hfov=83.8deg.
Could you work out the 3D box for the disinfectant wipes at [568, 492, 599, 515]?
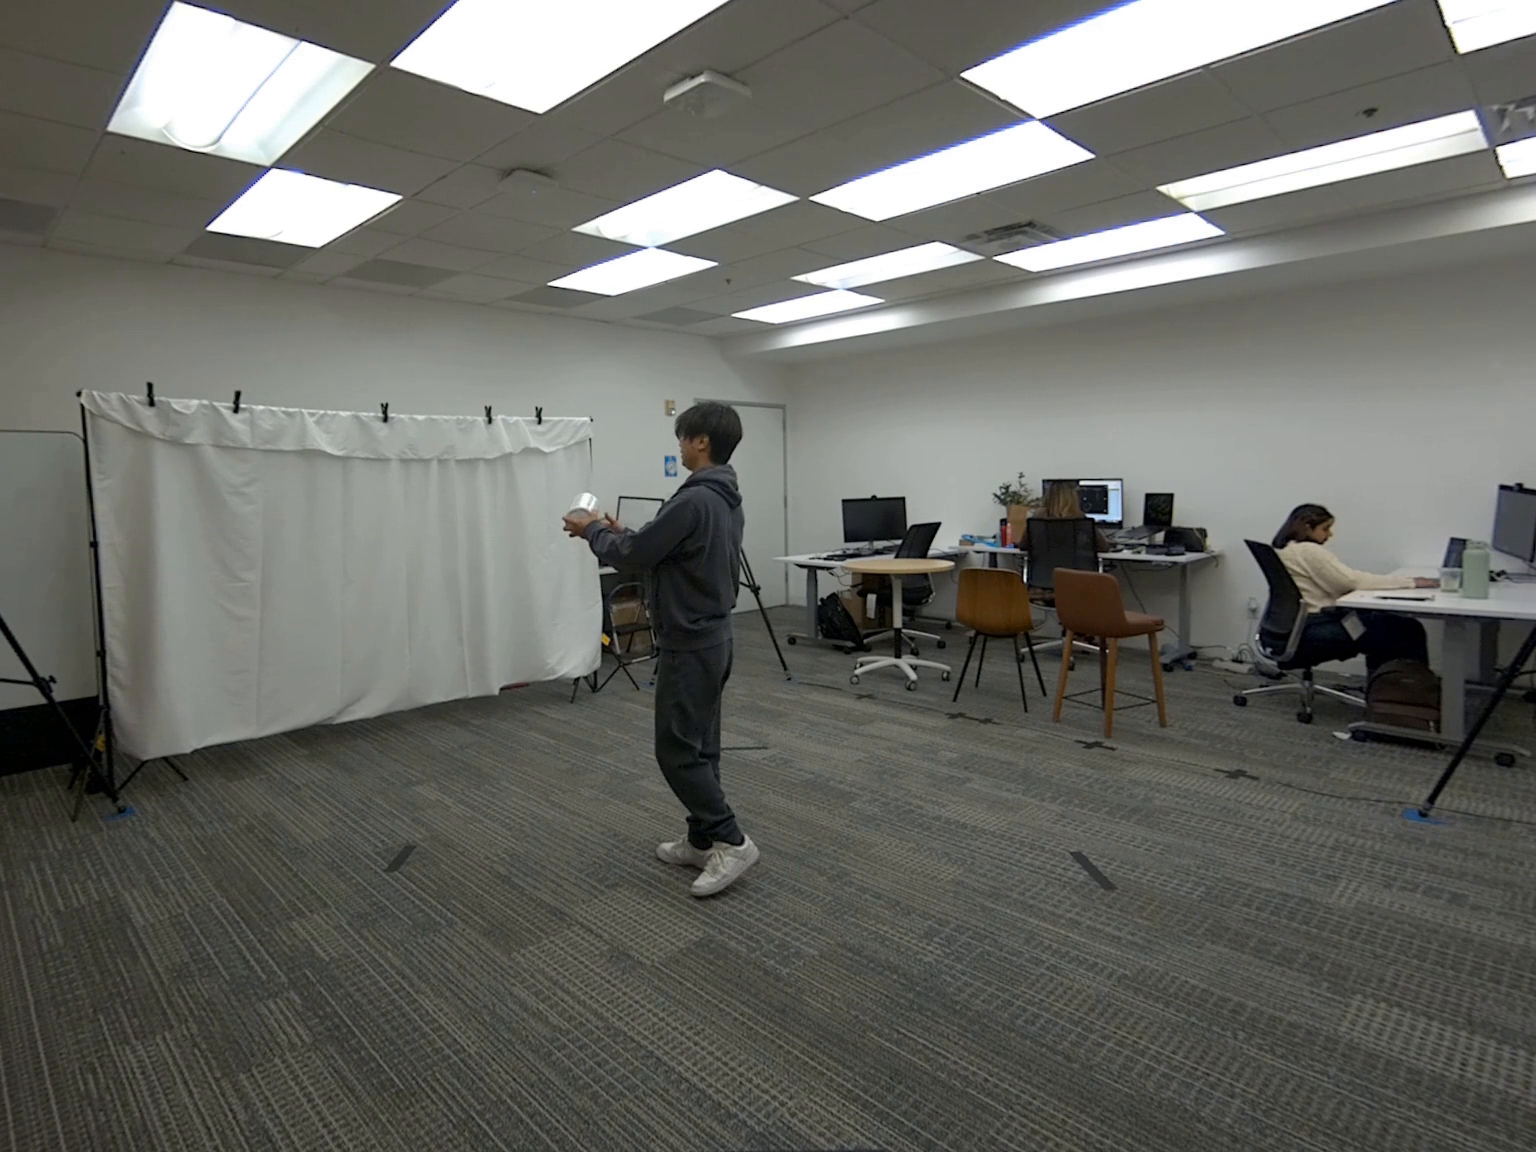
[{"bbox_3d":[-0.687,-0.236,3.193,0.117,0.116,0.222,-1,21,-4],"label":"disinfectant wipes"}]
